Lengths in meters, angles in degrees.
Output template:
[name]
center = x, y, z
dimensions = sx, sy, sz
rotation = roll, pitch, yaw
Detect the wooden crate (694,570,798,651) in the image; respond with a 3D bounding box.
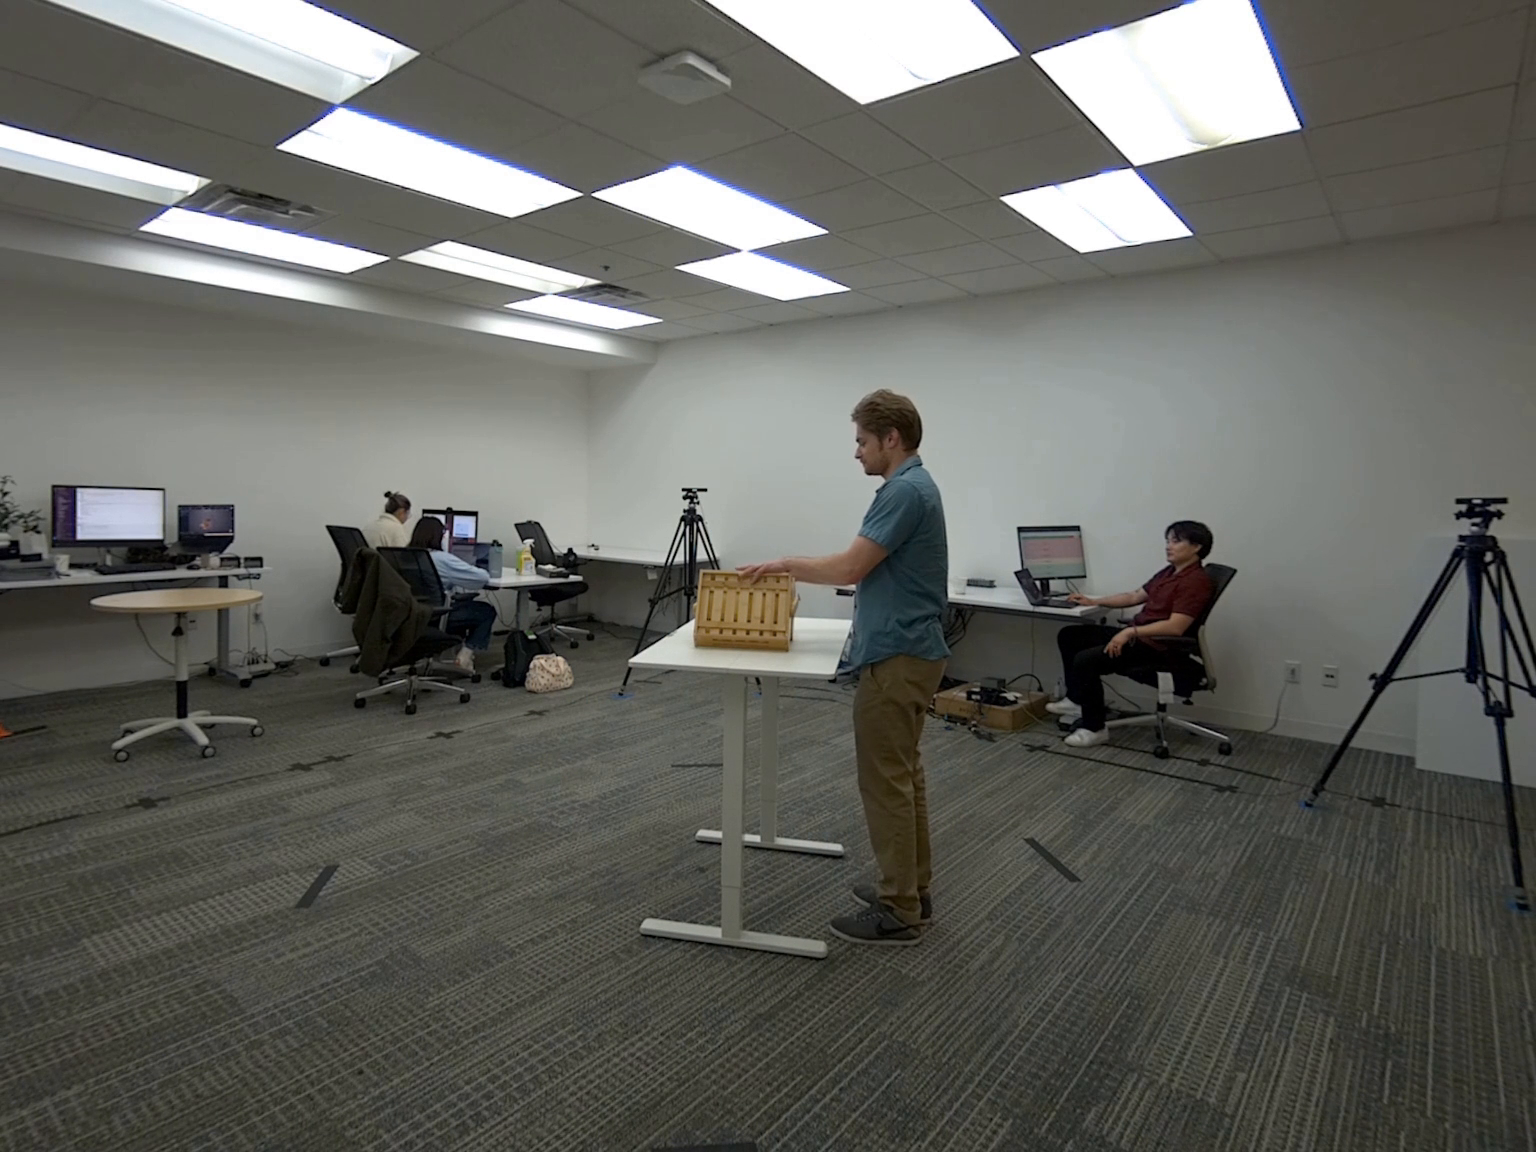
[wooden crate]
center = -0.078, 0.125, 2.853
dimensions = 0.327, 0.307, 0.266
rotation = 2, -22, 7
